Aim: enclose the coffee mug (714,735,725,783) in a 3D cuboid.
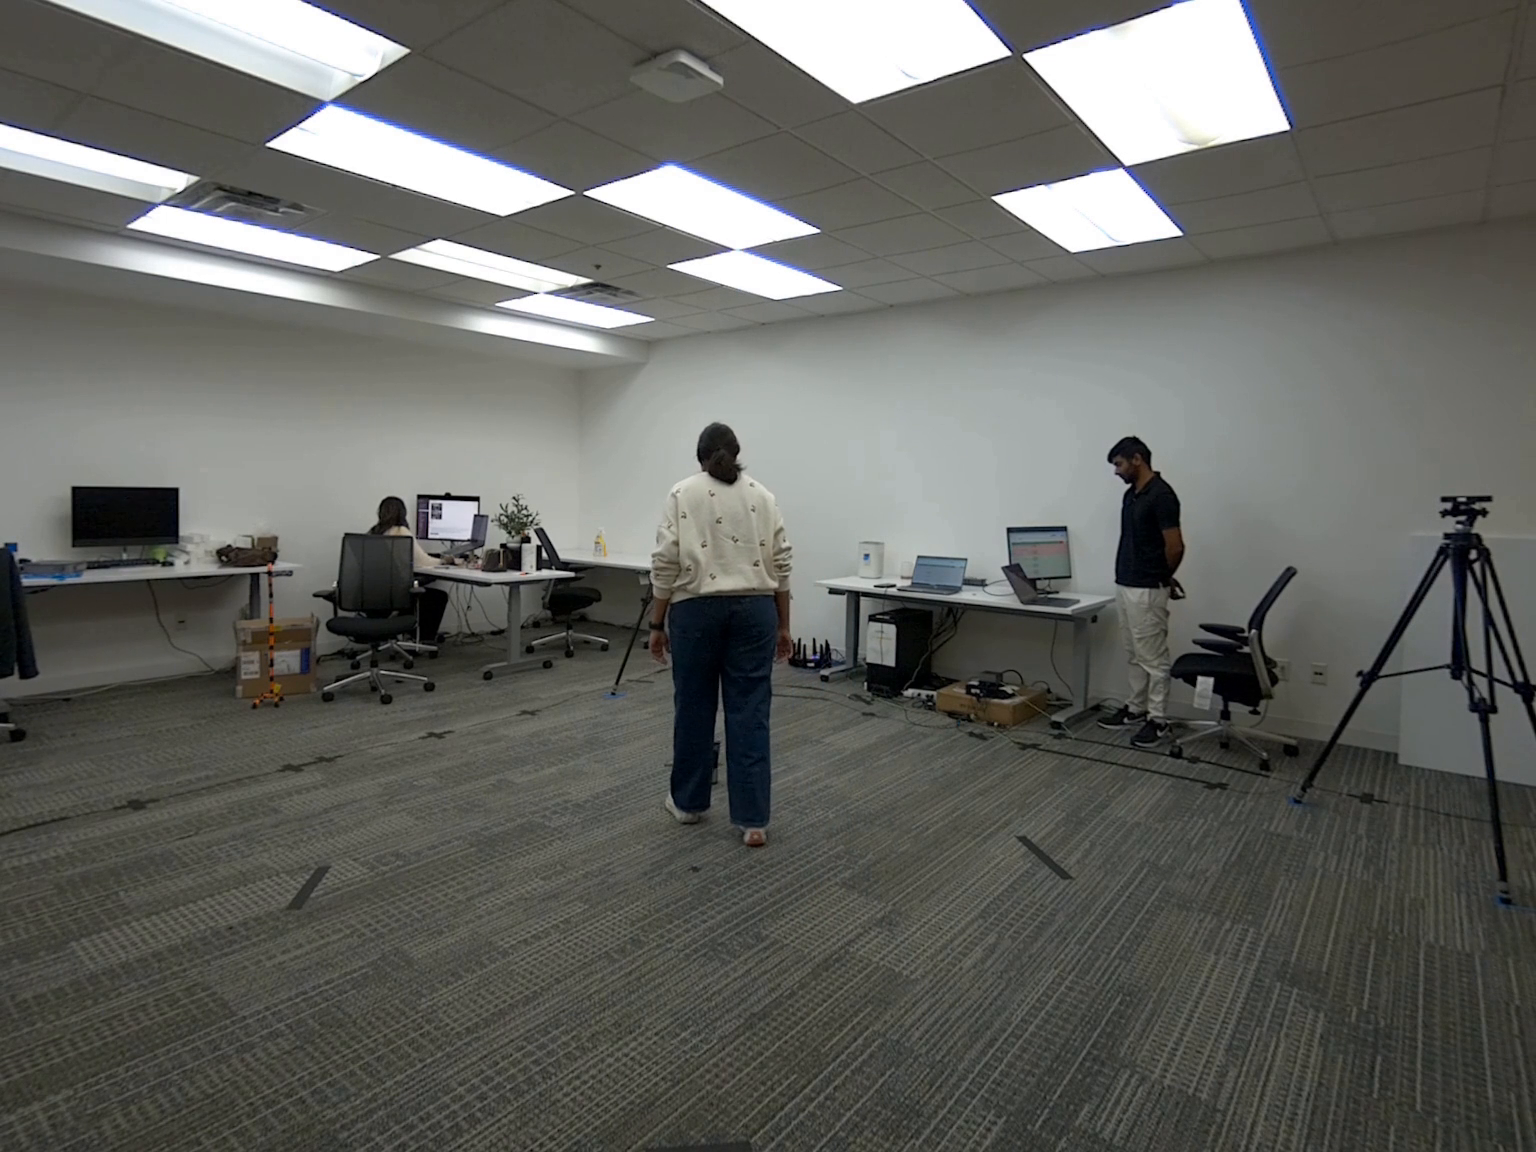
[{"bbox_3d":[-0.286,0.871,4.010,0.091,0.202,0.118,7,4,34],"label":"coffee mug"}]
